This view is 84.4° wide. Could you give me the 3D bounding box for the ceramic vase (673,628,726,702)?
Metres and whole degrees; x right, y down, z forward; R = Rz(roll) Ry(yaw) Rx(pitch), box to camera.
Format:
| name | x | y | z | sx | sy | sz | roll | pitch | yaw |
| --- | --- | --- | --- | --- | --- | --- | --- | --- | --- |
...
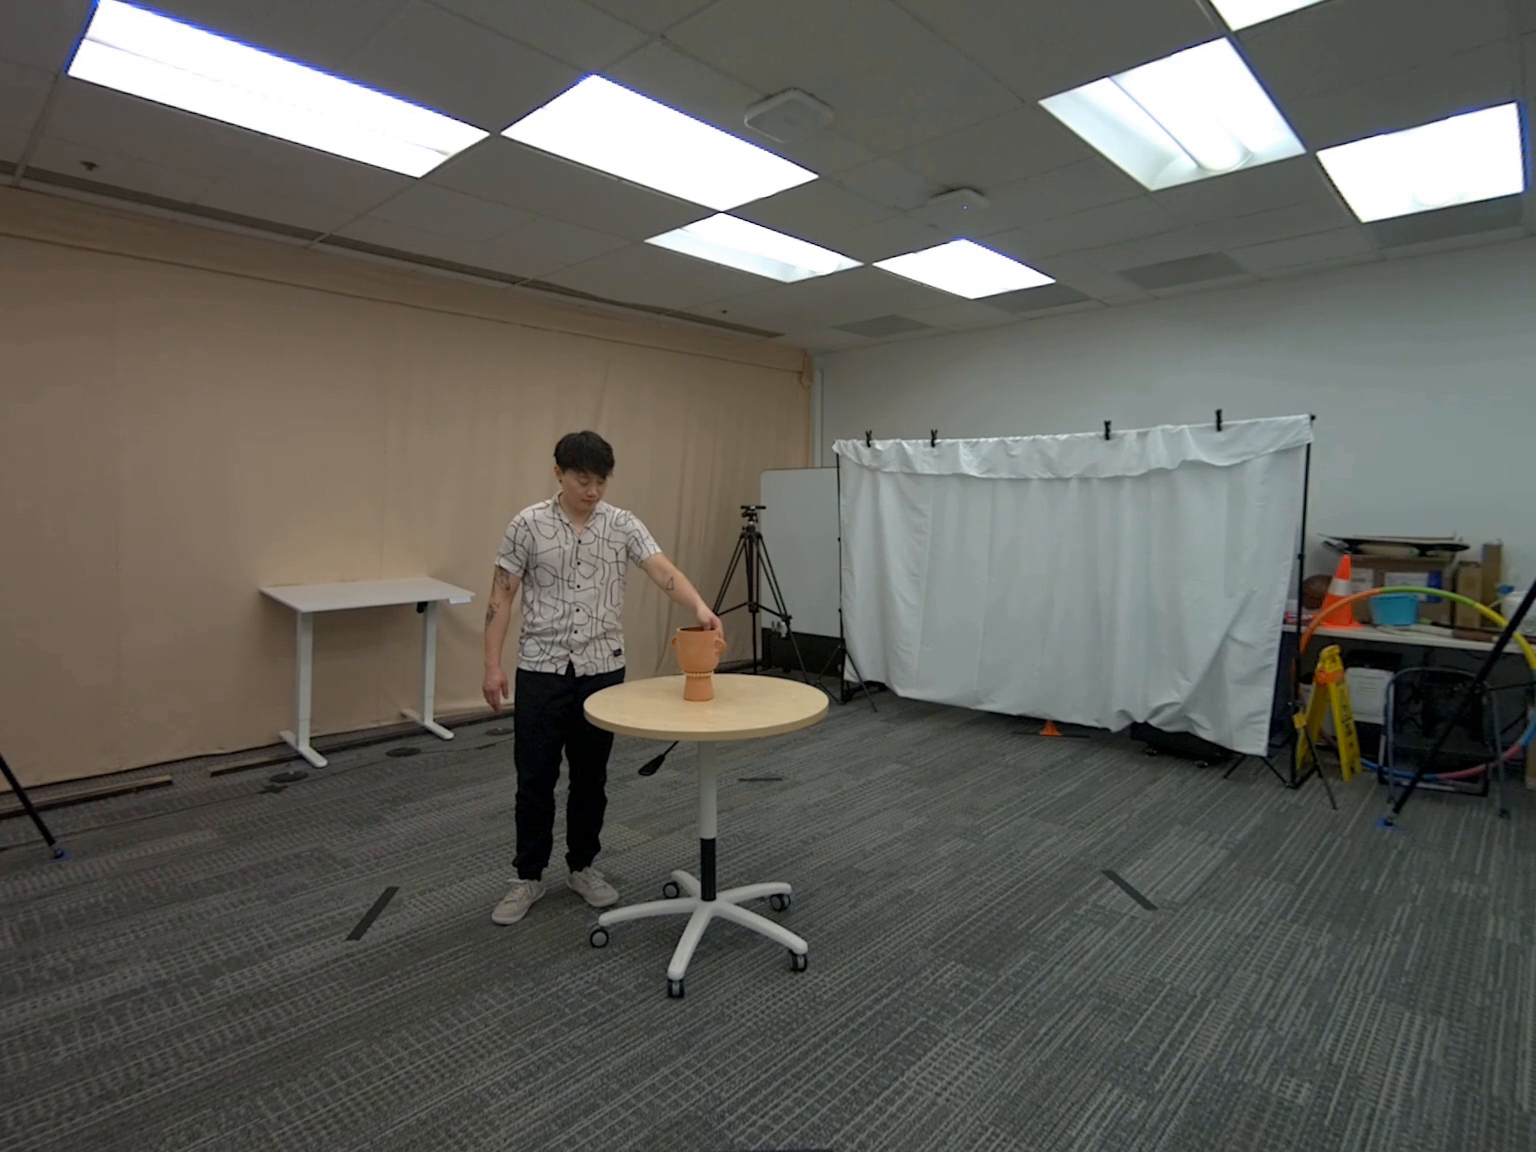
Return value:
| name | x | y | z | sx | sy | sz | roll | pitch | yaw |
| --- | --- | --- | --- | --- | --- | --- | --- | --- | --- |
| ceramic vase | -0.220 | 0.280 | 2.658 | 0.131 | 0.219 | 0.163 | -3 | 4 | -25 |
